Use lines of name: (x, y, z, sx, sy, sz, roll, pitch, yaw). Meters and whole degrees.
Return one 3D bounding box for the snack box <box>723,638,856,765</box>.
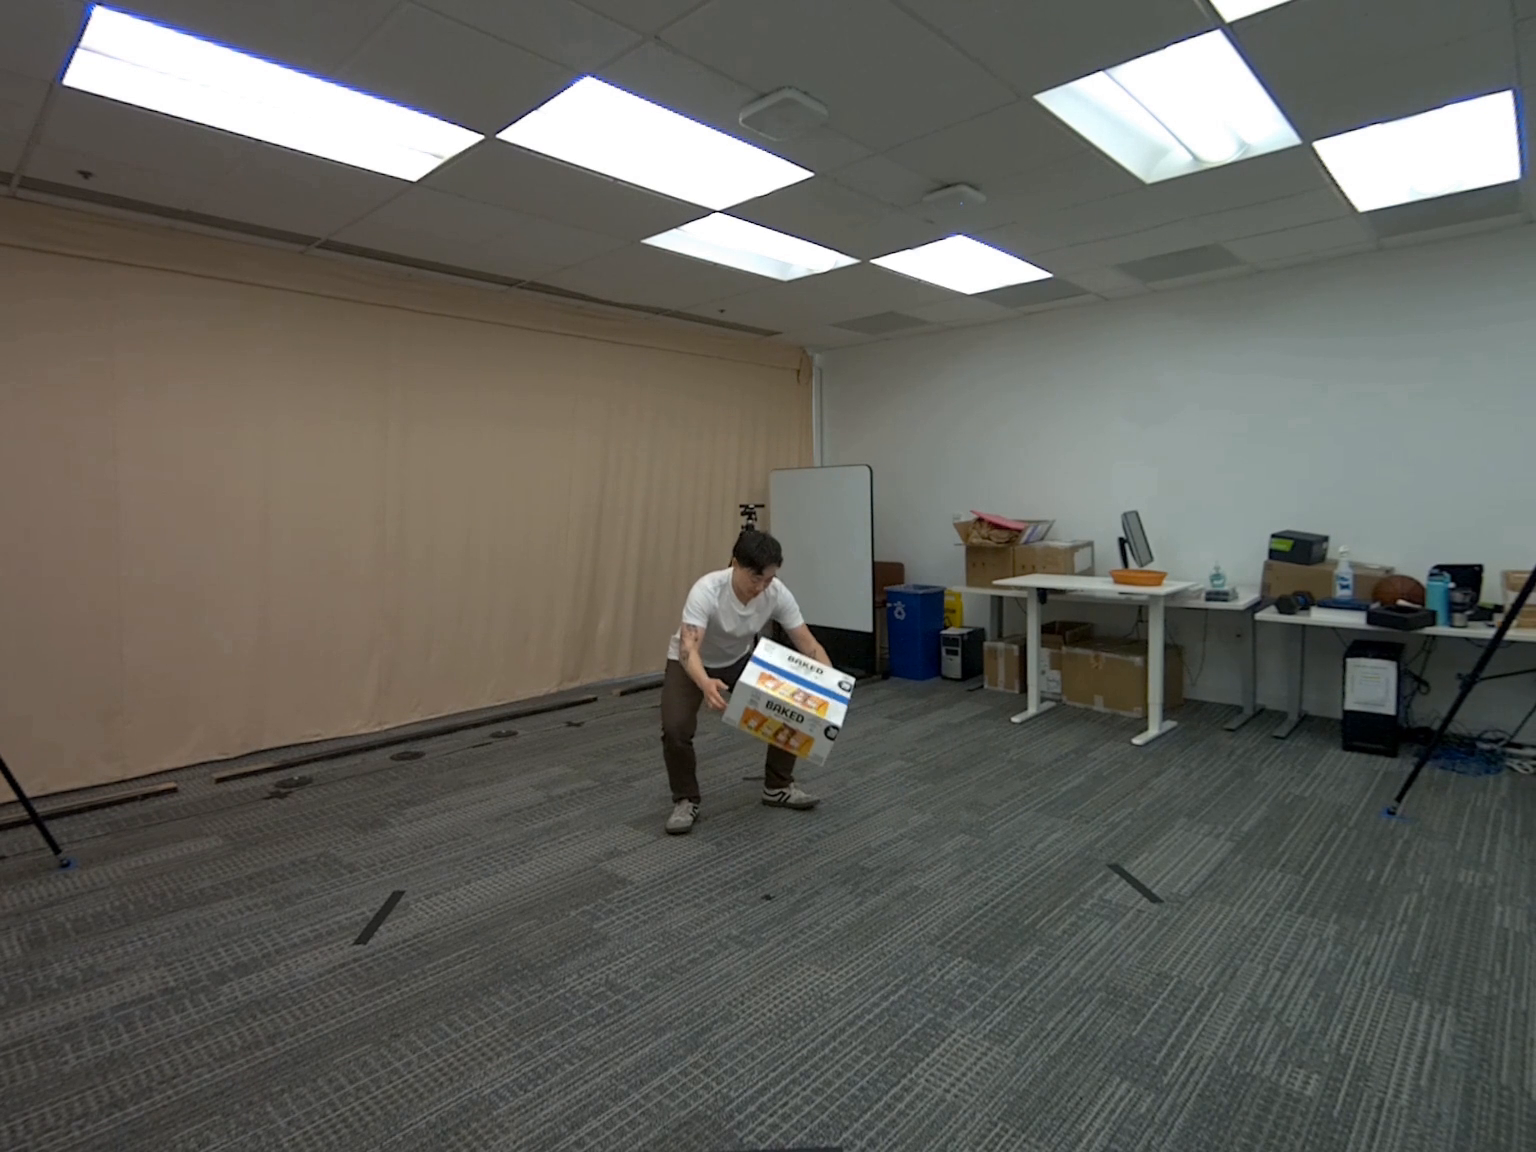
snack box: (0.090, 0.472, 3.216, 0.409, 0.204, 0.339, 23, 27, 6)
